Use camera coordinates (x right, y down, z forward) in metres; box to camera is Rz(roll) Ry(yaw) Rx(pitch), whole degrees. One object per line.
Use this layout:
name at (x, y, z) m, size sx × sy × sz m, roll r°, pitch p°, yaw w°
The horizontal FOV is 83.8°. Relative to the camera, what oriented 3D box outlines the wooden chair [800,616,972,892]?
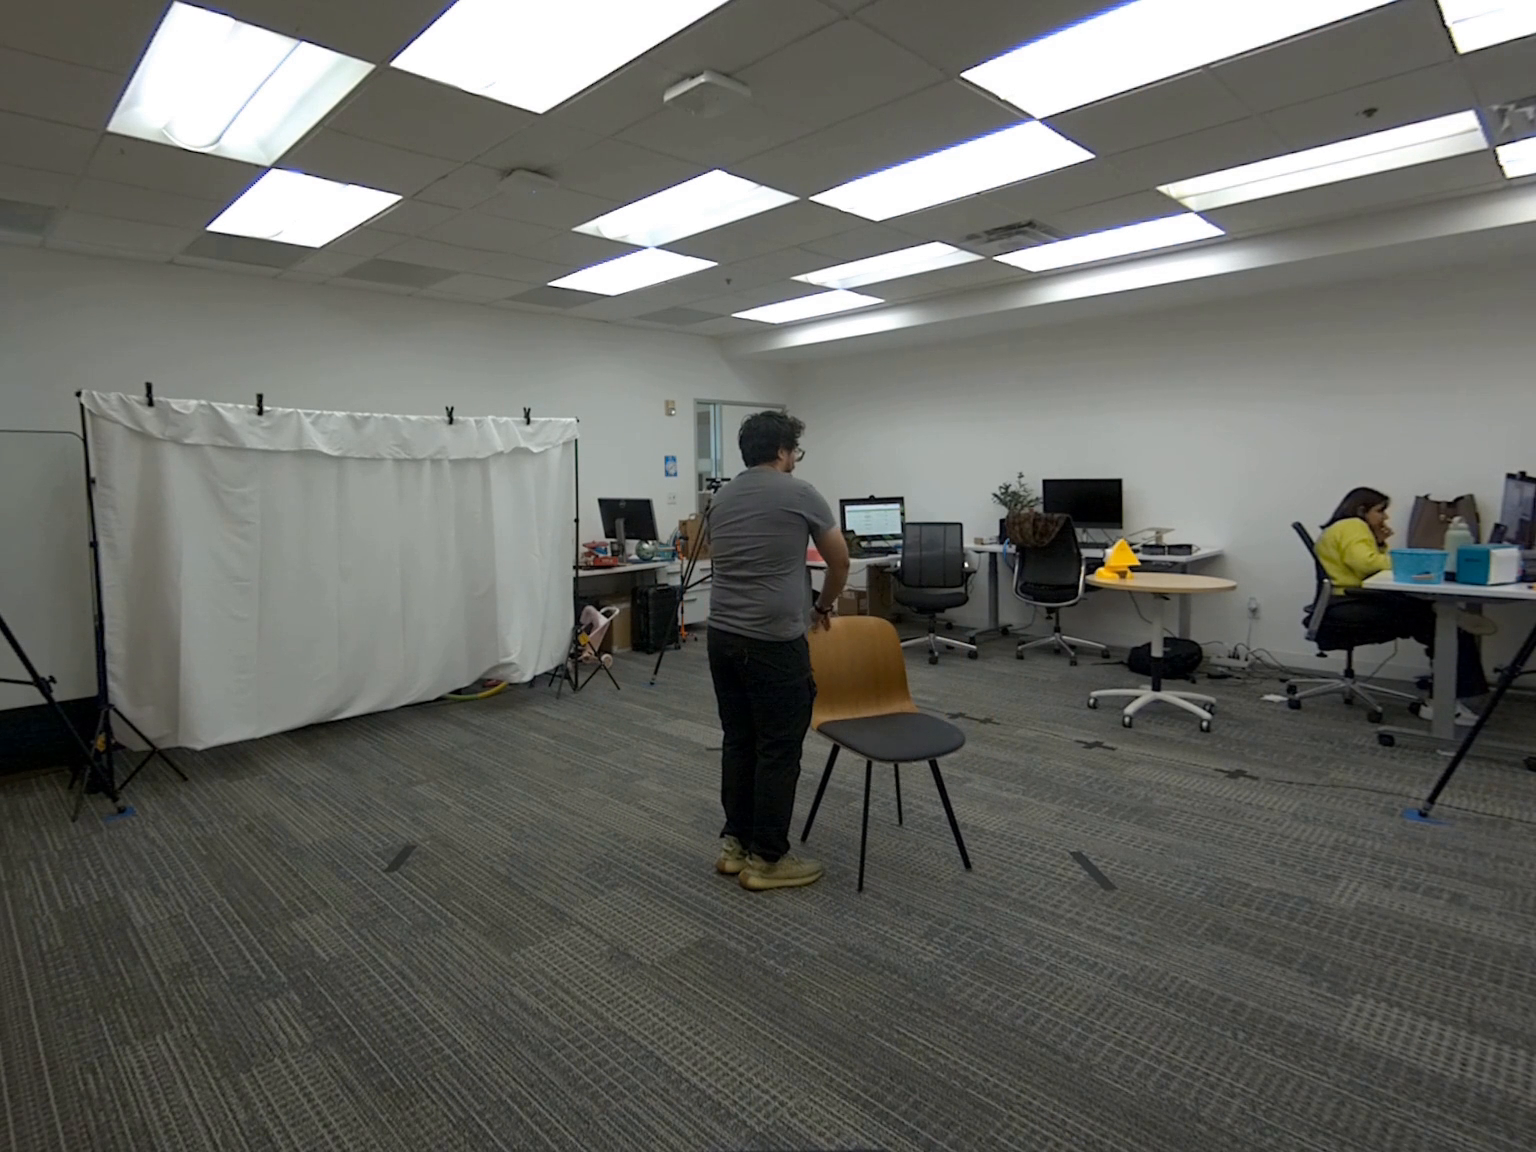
wooden chair at (0.425, 0.611, 3.112) m, size 0.469 × 0.877 × 0.533 m, roll -3°, pitch 1°, yaw -23°
